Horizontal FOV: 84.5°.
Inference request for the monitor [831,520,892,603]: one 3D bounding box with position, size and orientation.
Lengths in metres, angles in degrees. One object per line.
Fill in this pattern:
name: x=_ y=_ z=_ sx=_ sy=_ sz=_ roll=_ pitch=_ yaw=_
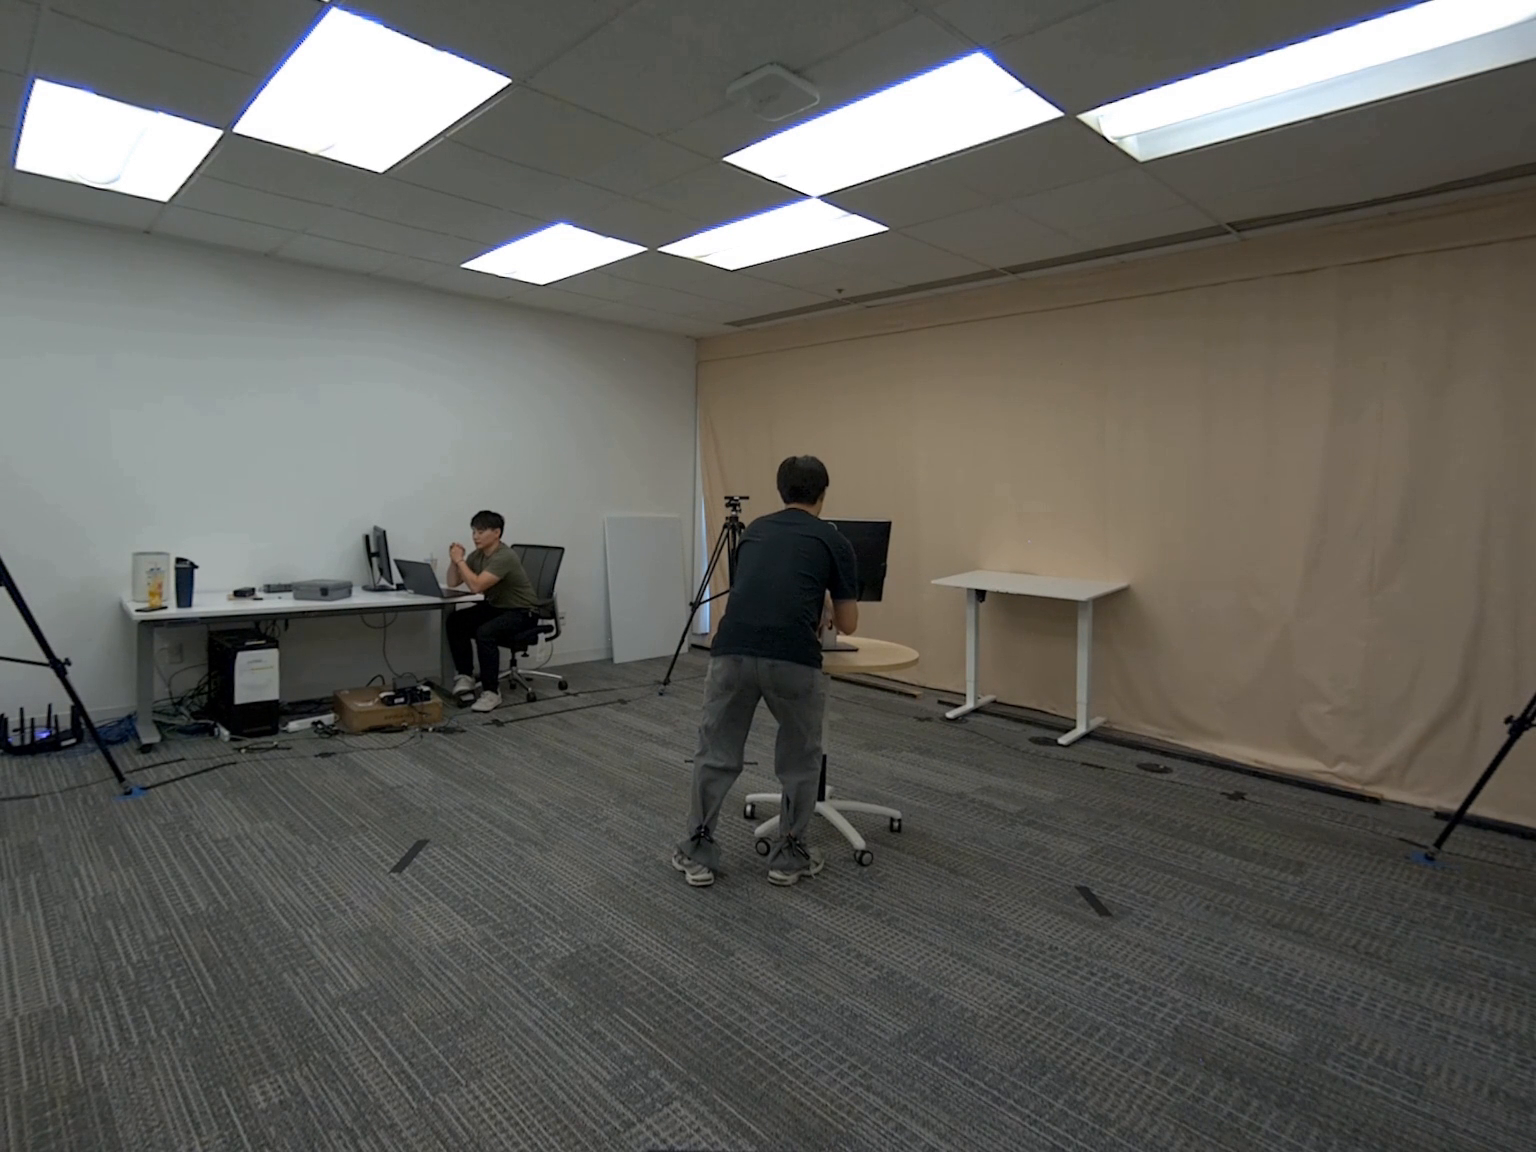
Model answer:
monitor: x=0.241 y=0.040 z=3.501 sx=0.557 sy=0.566 sz=0.224 roll=1 pitch=0 yaw=-11
